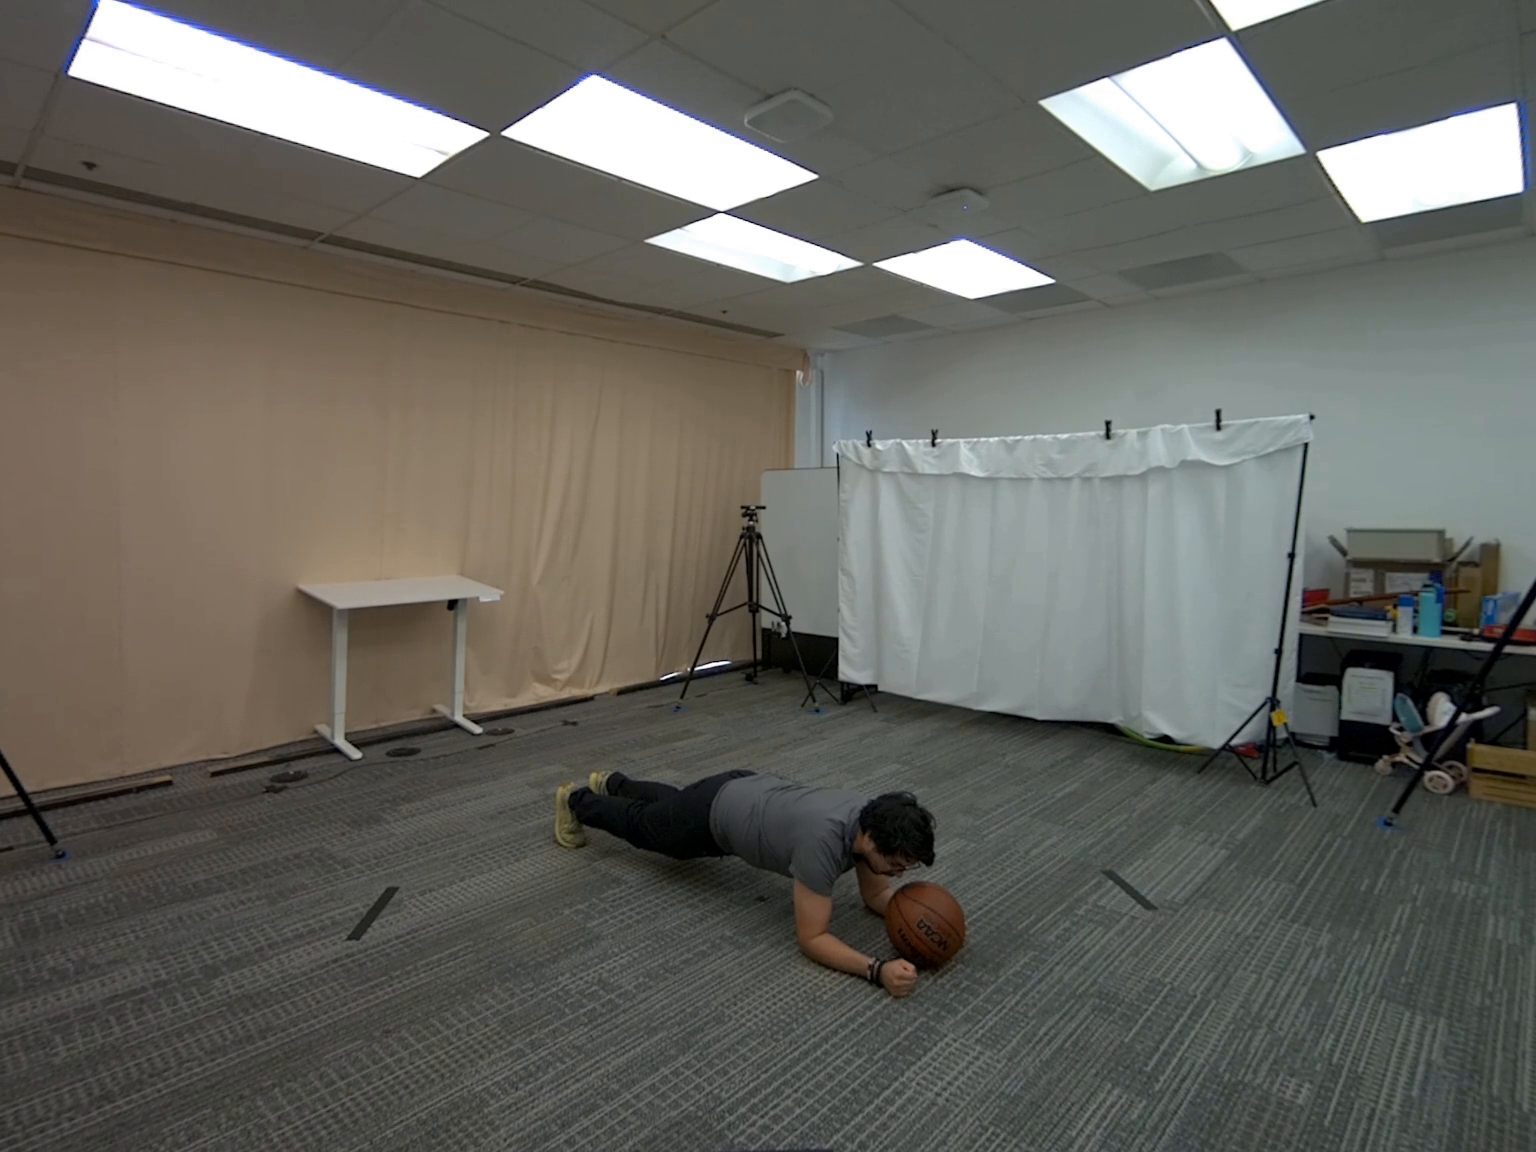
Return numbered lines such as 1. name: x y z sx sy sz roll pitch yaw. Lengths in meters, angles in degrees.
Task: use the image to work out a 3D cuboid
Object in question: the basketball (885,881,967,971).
1. basketball: 0.486 1.057 2.566 0.236 0.235 0.237 0 4 -2
